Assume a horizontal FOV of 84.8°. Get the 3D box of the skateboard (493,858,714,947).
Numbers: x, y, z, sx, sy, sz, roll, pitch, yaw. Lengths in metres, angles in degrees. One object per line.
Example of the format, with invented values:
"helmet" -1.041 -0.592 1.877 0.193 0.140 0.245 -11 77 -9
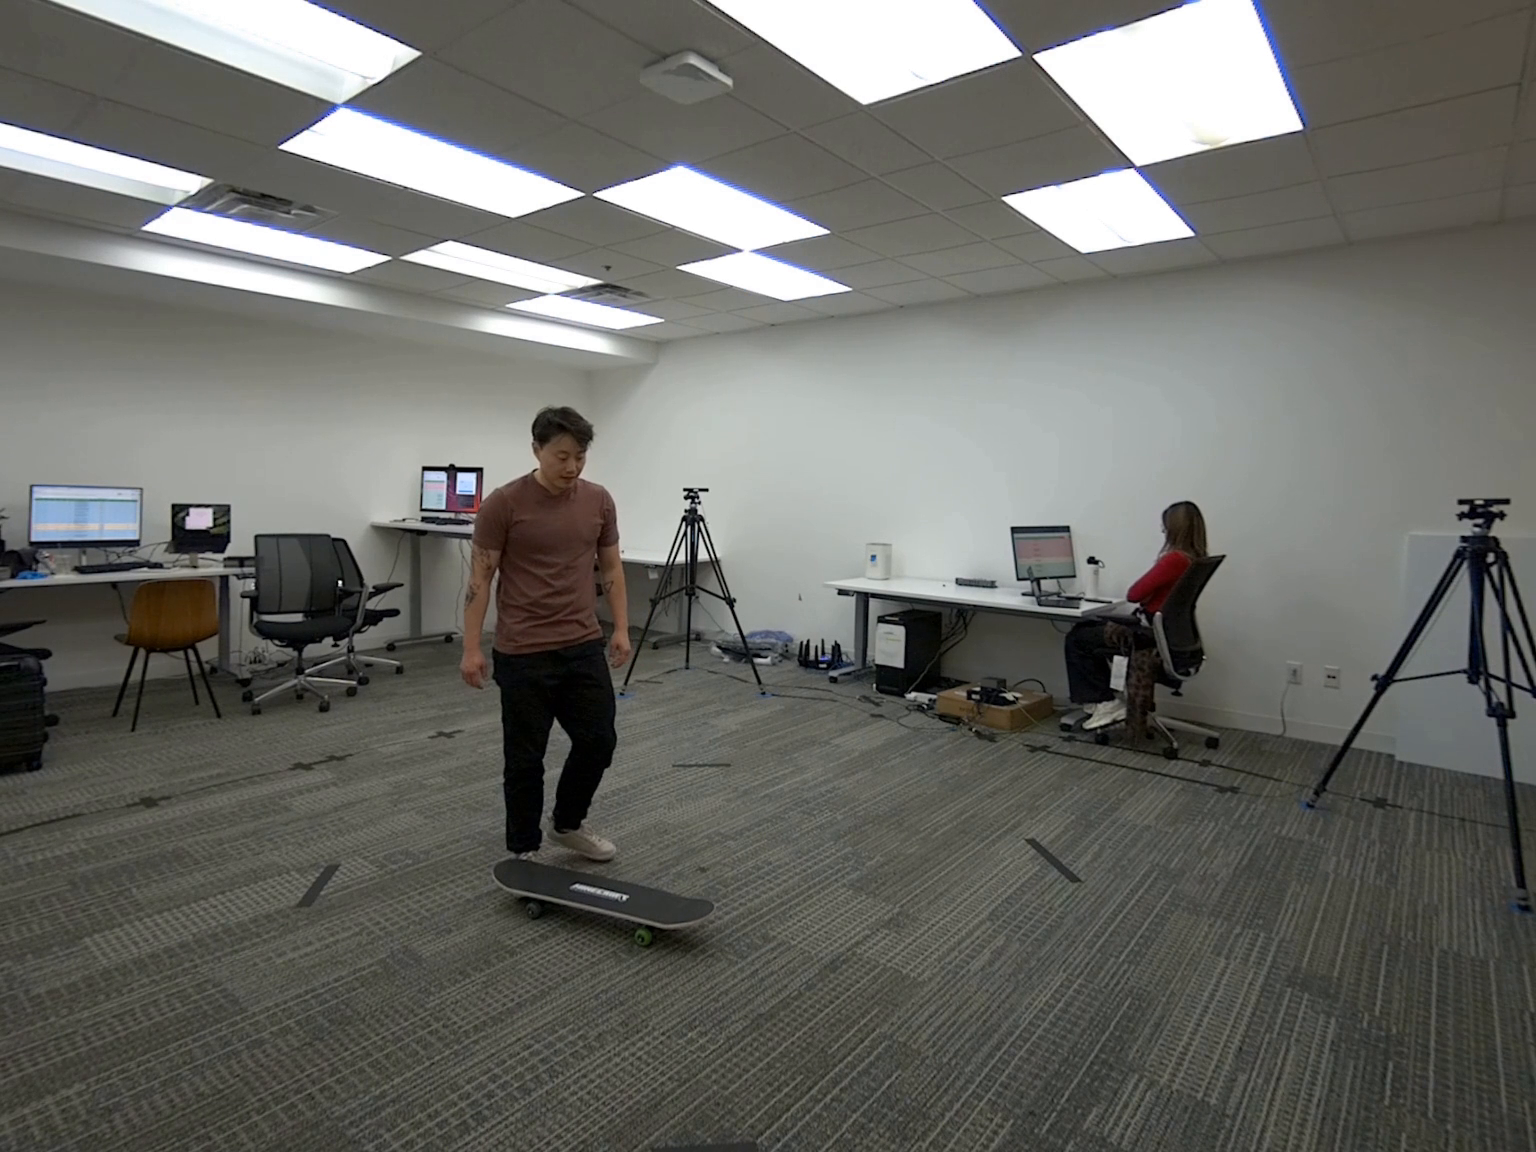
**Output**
"skateboard" -0.550 1.041 2.725 0.803 0.110 0.190 3 5 22
